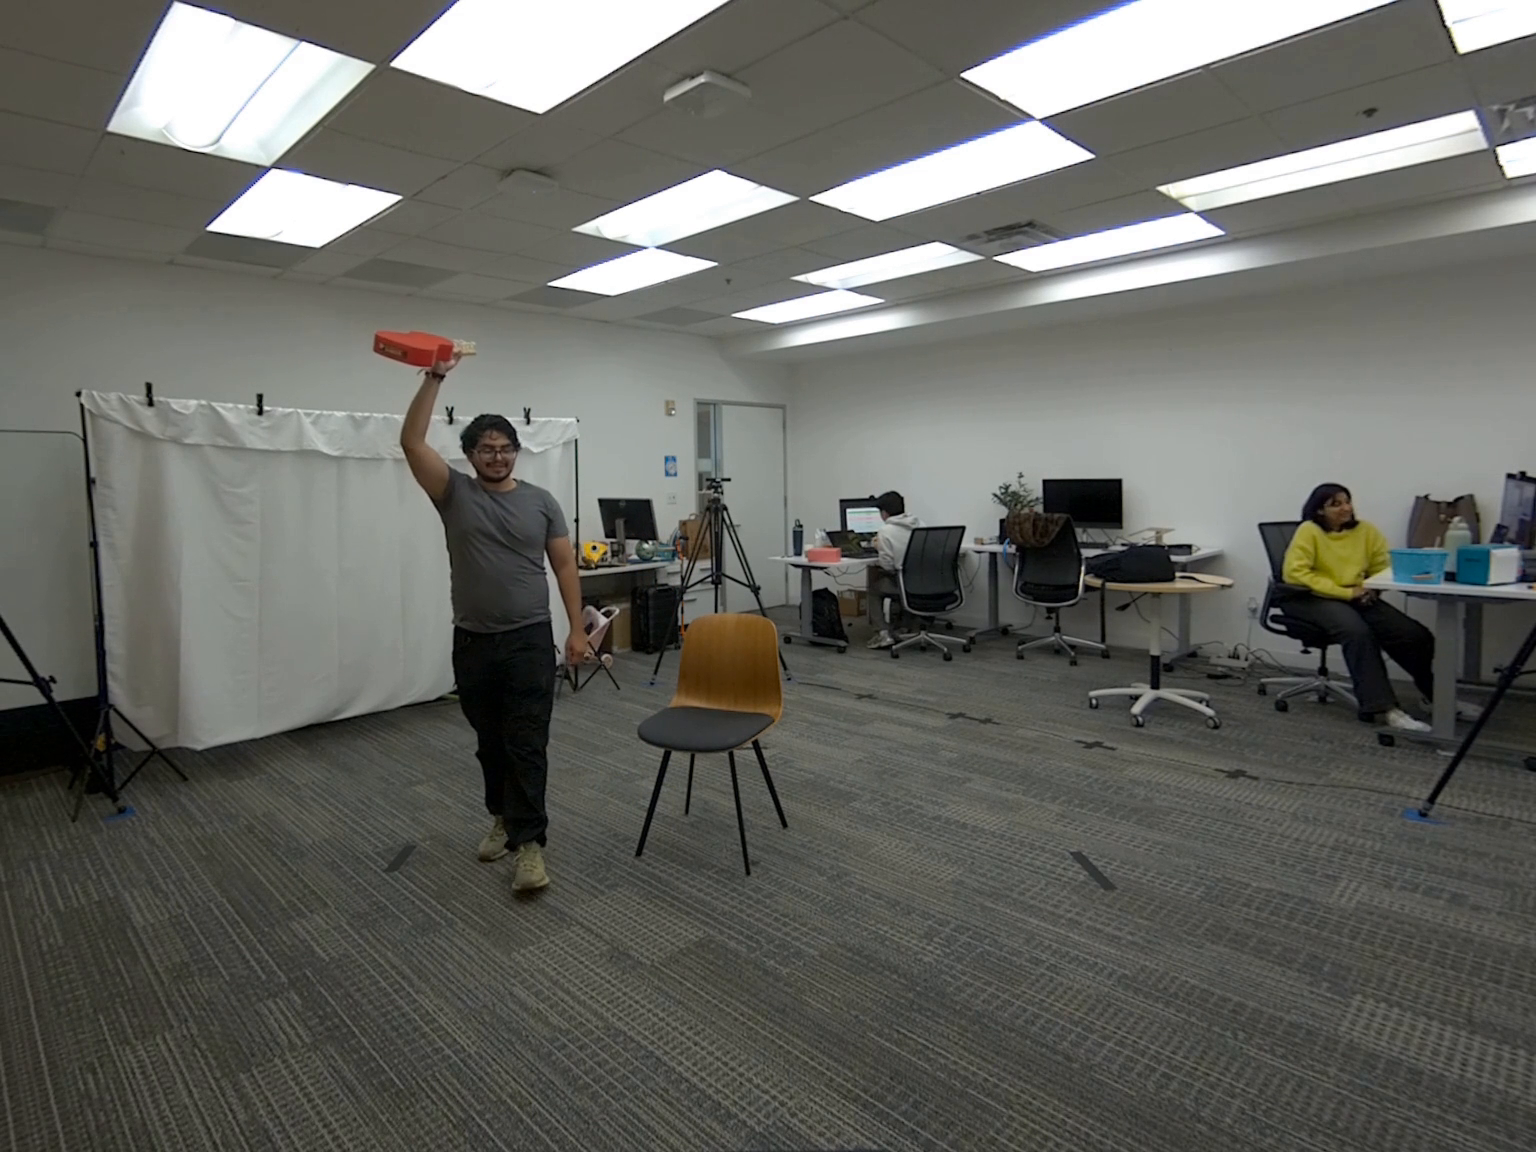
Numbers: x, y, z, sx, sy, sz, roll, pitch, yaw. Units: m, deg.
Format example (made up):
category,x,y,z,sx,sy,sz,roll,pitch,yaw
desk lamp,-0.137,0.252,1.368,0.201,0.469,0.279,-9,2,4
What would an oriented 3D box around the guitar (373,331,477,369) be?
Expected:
category,x,y,z,sx,sy,sz,roll,pitch,yaw
guitar,-1.133,-0.770,2.856,0.192,0.070,0.505,13,19,-3
